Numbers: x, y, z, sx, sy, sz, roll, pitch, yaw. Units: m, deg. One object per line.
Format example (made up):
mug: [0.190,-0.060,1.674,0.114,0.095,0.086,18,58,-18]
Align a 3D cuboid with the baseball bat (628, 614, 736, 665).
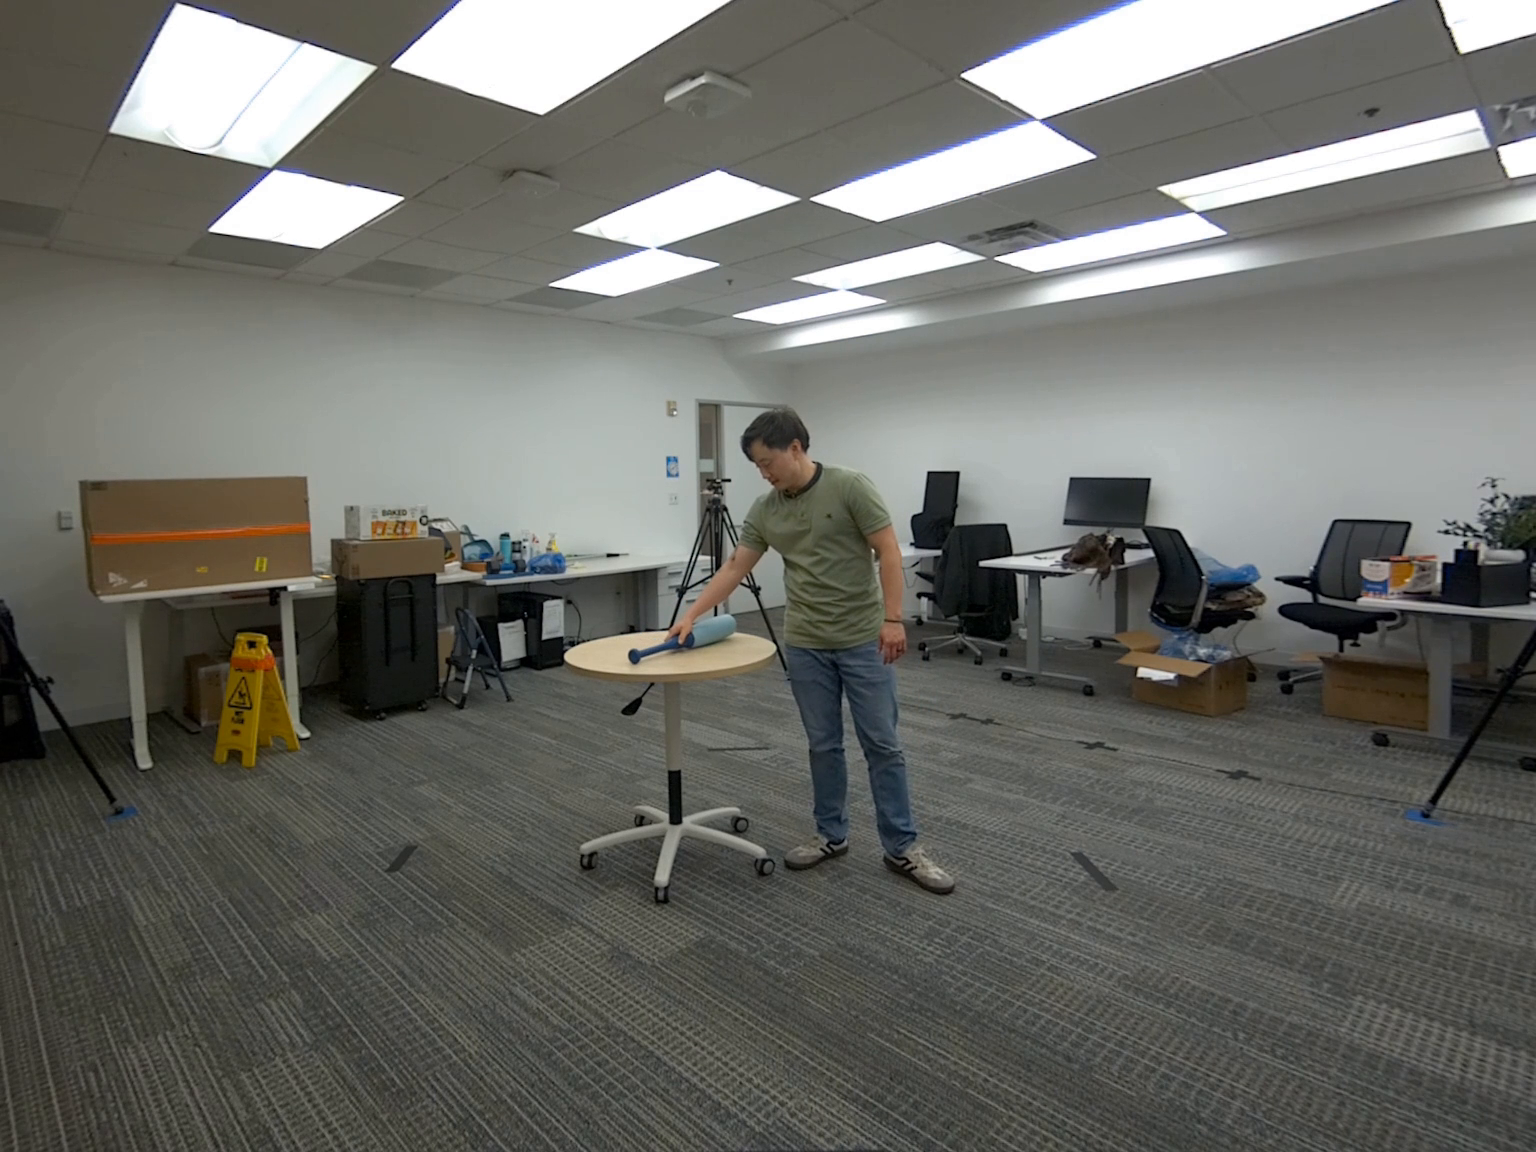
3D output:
baseball bat: [-0.294,0.231,3.077,0.091,0.088,0.532,2,11,34]
